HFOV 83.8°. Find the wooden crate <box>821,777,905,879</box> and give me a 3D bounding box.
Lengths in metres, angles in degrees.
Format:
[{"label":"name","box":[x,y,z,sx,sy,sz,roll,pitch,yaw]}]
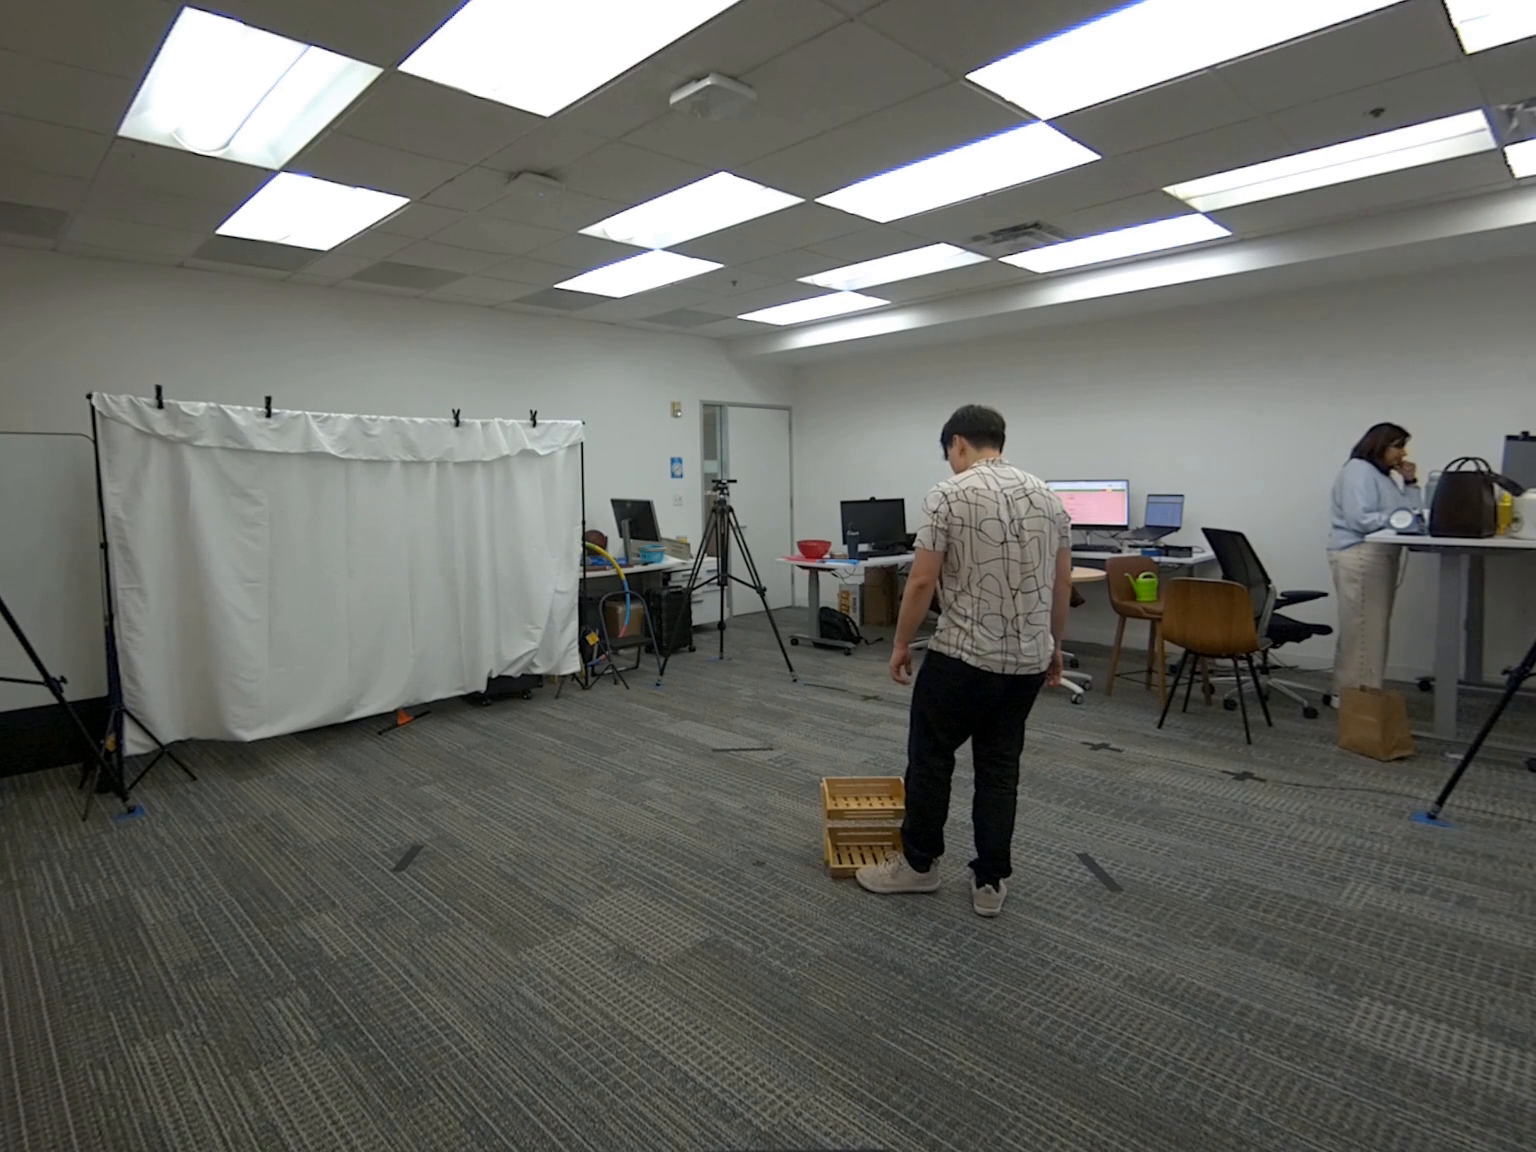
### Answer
[{"label":"wooden crate","box":[0.370,0.909,3.098,0.324,0.272,0.303,-1,5,-1]}]
